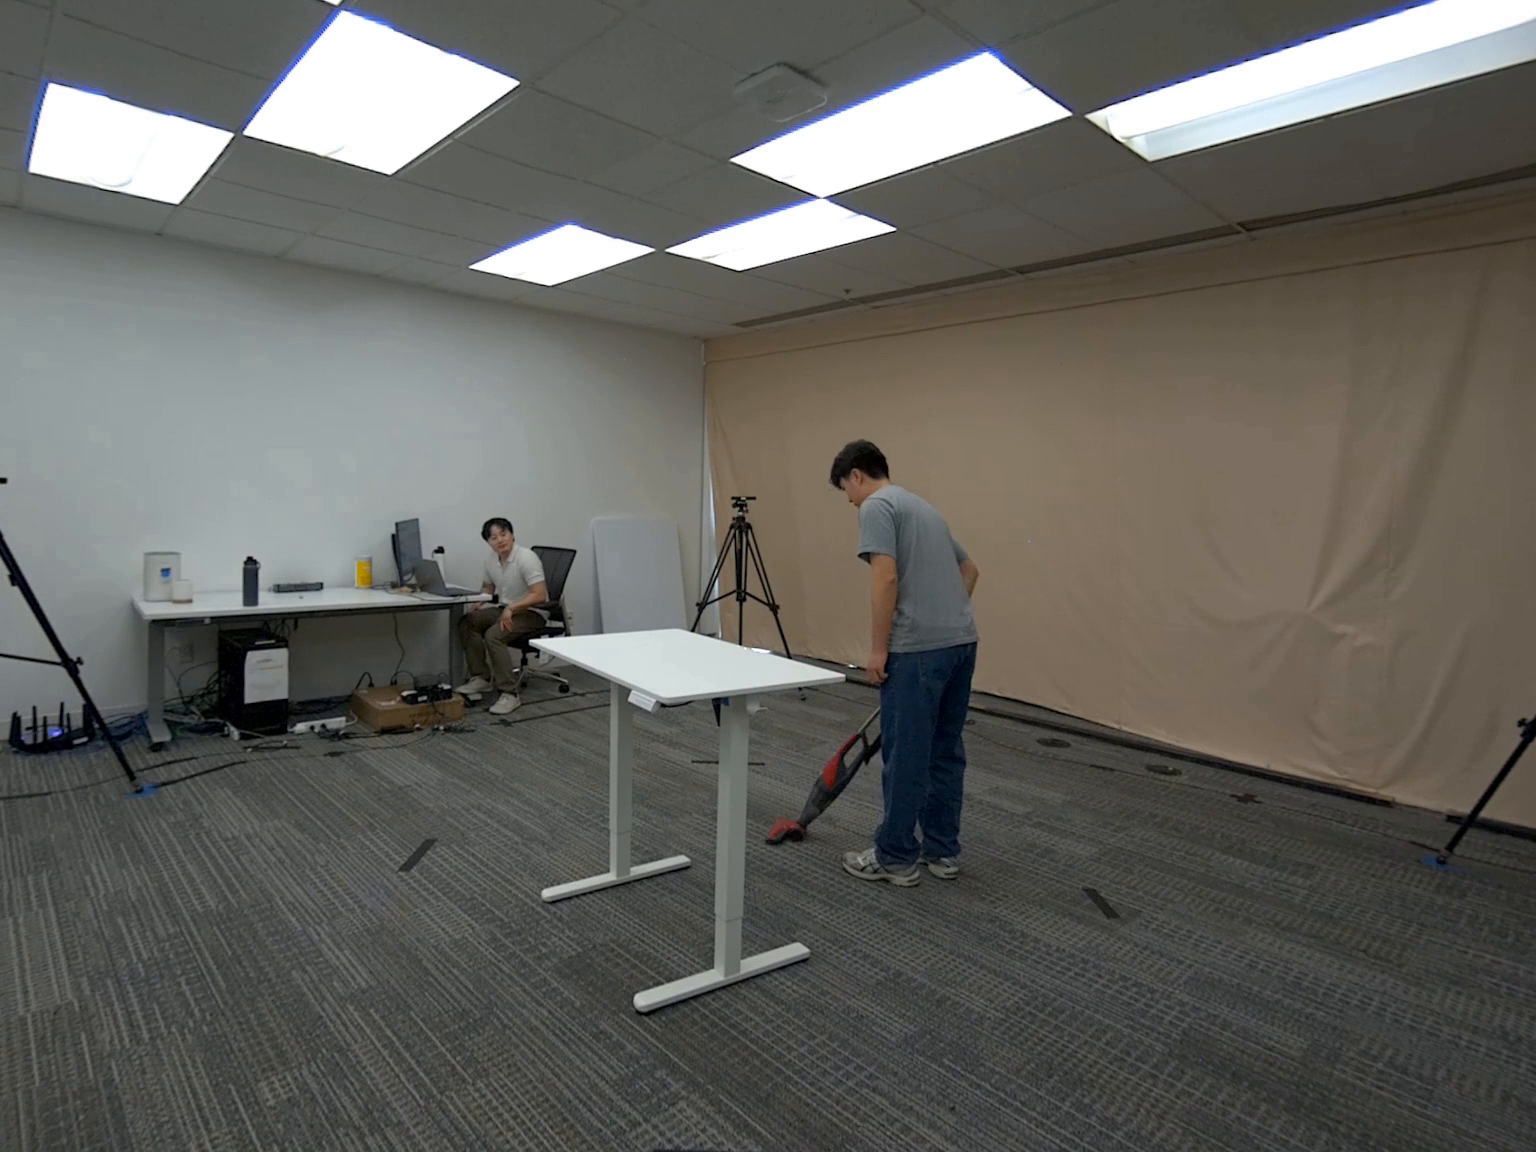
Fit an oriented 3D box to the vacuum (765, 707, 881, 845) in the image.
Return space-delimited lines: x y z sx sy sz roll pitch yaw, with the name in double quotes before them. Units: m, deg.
"vacuum" 0.384 0.662 3.410 0.145 1.048 0.250 40 11 8
